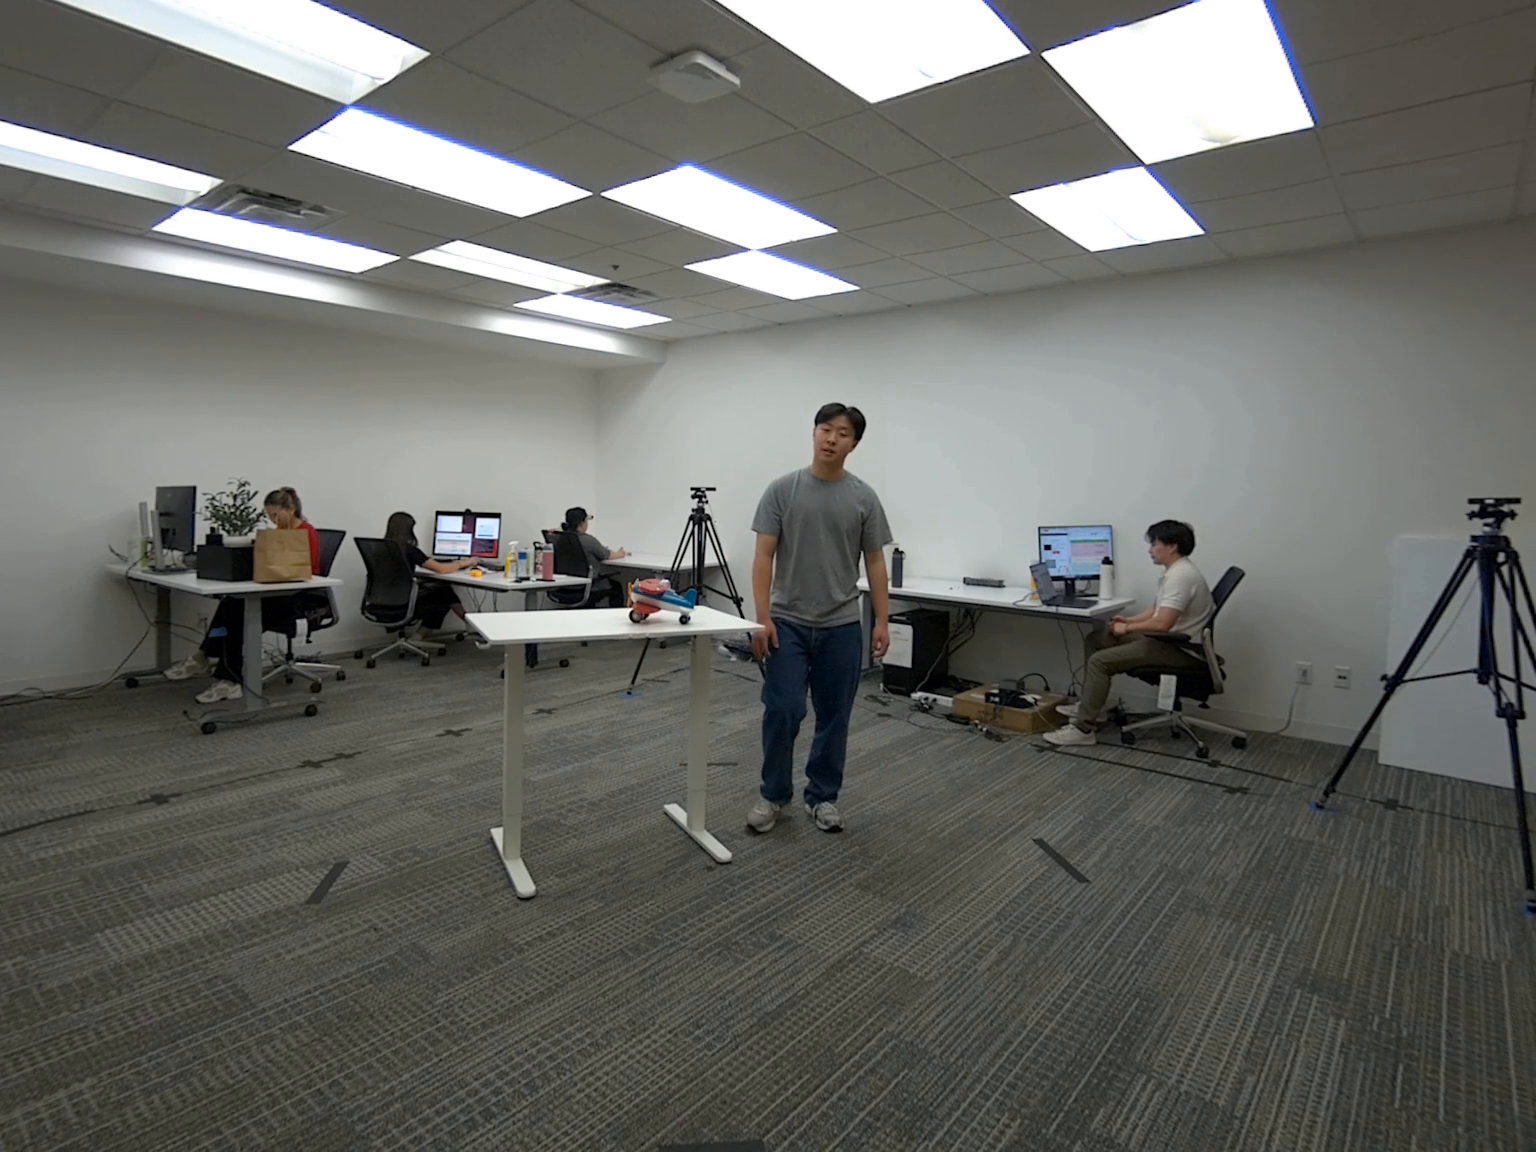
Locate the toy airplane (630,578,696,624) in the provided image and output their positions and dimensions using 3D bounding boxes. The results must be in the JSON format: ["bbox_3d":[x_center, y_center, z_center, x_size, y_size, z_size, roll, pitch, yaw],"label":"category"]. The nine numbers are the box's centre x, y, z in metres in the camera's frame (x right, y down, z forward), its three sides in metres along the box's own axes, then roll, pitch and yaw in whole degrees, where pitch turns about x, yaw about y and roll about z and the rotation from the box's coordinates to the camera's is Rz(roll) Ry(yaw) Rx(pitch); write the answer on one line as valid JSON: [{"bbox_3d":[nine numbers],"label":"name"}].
[{"bbox_3d":[-0.414,0.091,3.220,0.254,0.156,0.258,-1,6,-23],"label":"toy airplane"}]
